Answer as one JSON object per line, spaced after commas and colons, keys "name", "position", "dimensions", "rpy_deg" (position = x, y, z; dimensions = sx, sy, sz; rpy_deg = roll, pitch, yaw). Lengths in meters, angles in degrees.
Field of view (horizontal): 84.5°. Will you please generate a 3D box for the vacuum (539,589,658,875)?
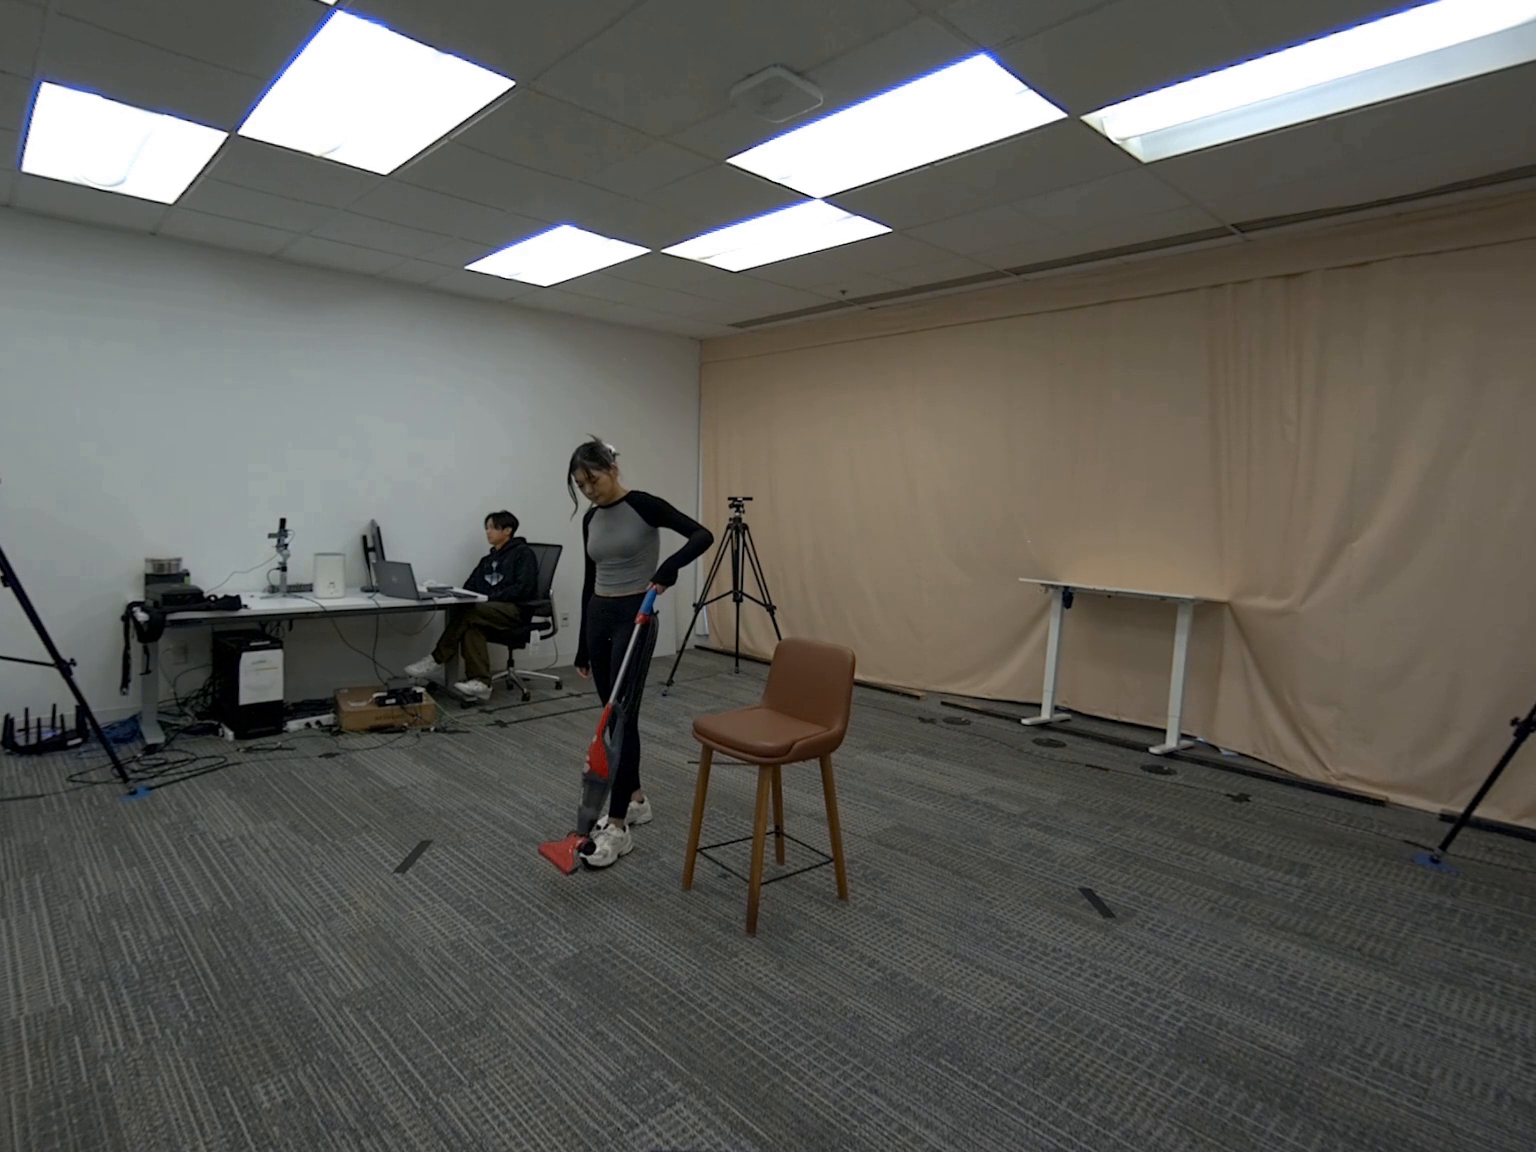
{"name": "vacuum", "position": [-0.536, 0.477, 3.021], "dimensions": [0.259, 1.055, 0.139], "rpy_deg": [7, -17, 40]}
